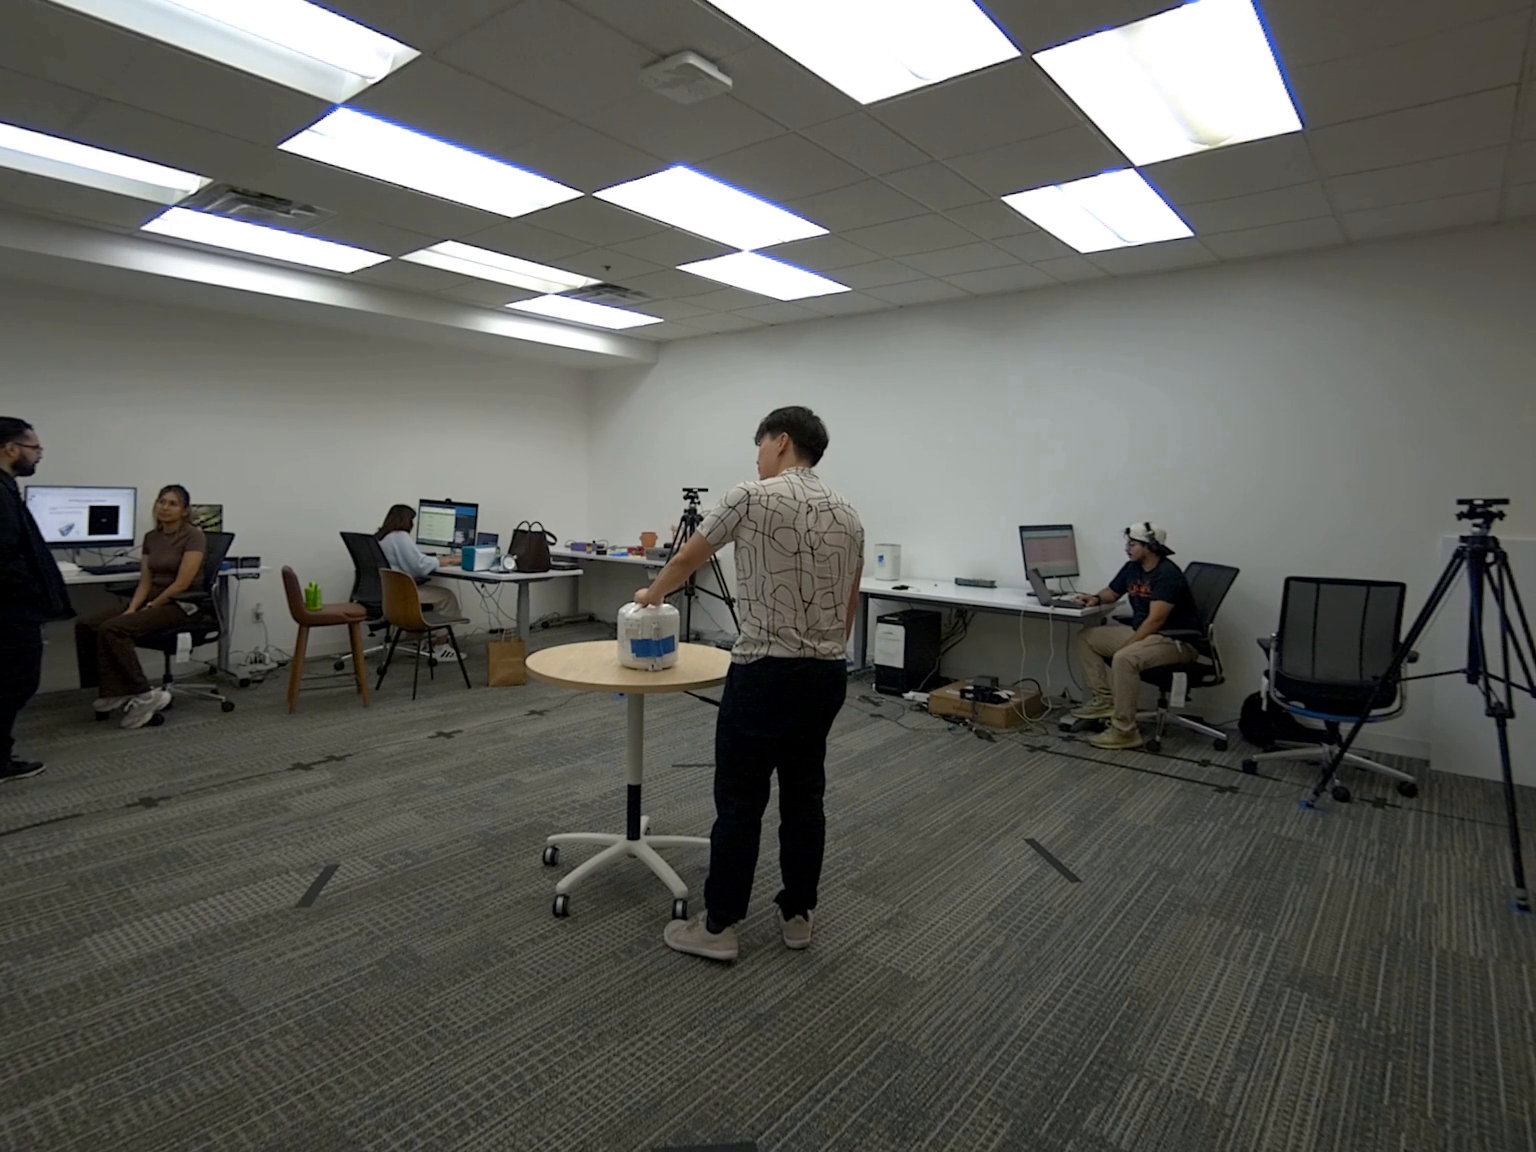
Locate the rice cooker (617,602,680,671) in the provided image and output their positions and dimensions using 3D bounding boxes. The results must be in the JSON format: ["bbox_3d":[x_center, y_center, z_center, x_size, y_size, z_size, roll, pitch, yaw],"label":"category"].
[{"bbox_3d":[-0.421,0.189,2.907,0.223,0.232,0.216,4,5,24],"label":"rice cooker"}]
